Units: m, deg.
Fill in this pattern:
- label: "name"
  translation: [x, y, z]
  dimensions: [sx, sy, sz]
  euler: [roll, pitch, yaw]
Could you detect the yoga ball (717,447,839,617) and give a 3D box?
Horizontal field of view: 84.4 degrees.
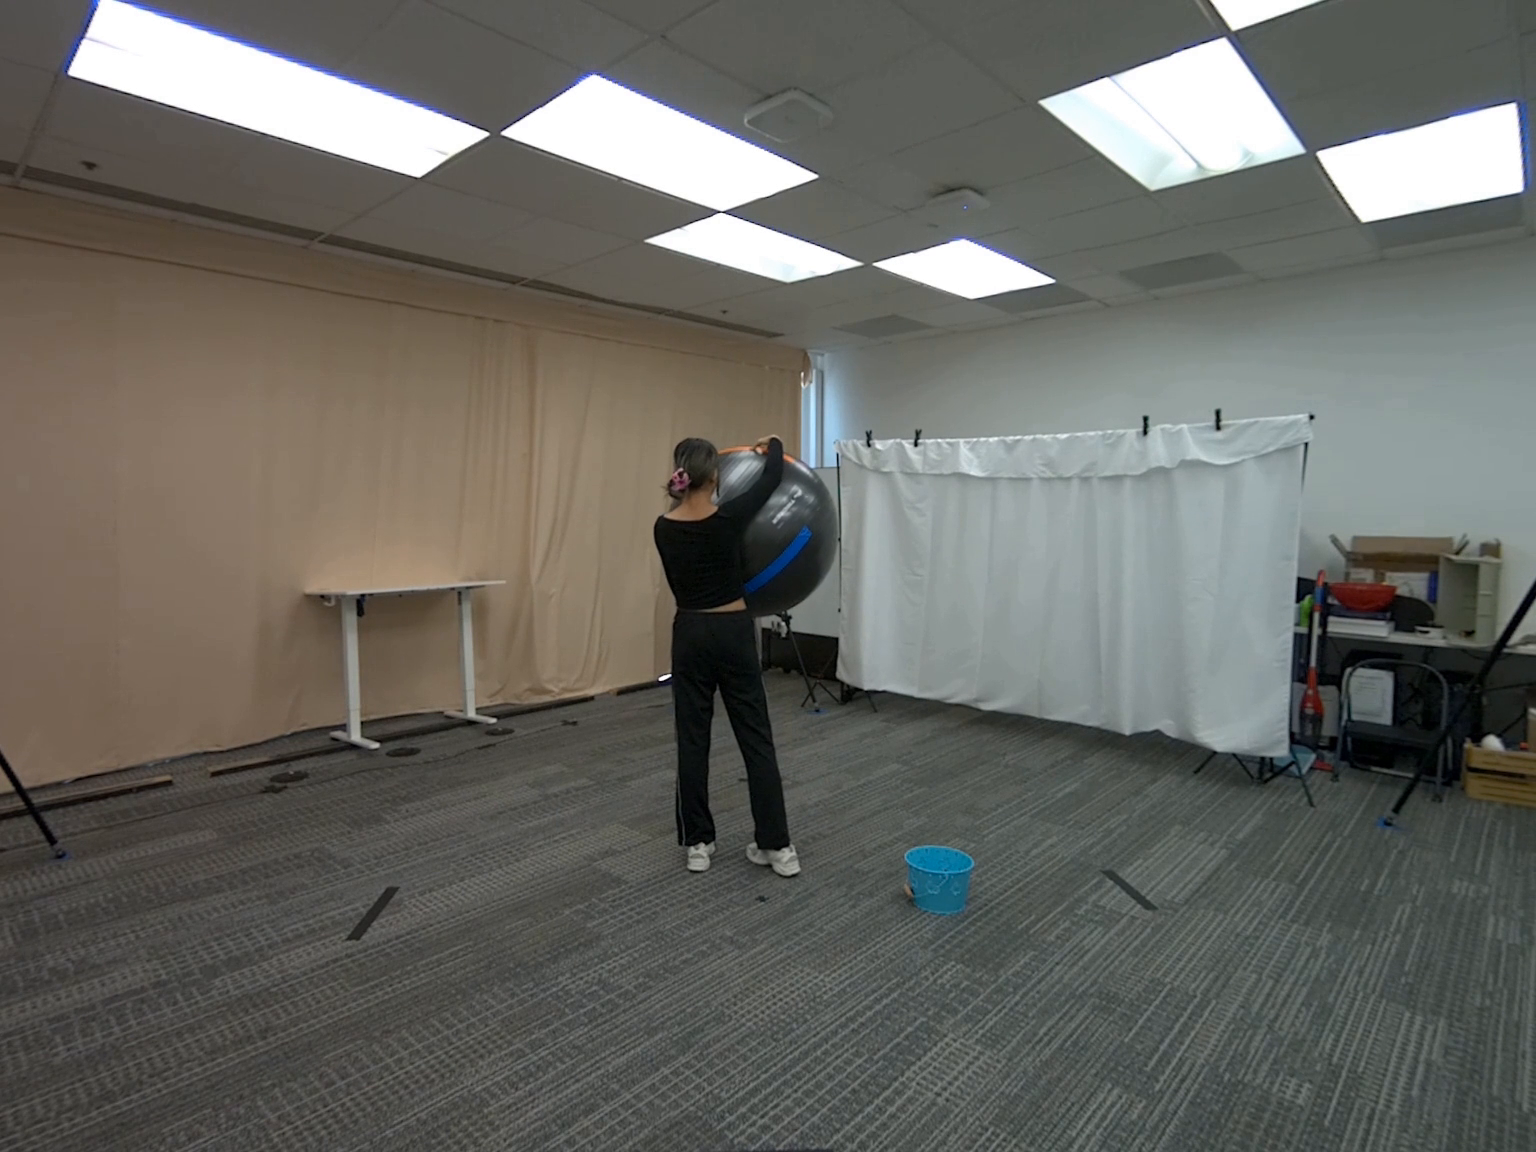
- label: "yoga ball"
  translation: [-0.070, -0.191, 3.728]
  dimensions: [0.757, 0.756, 0.760]
  euler: [0, 4, -2]
